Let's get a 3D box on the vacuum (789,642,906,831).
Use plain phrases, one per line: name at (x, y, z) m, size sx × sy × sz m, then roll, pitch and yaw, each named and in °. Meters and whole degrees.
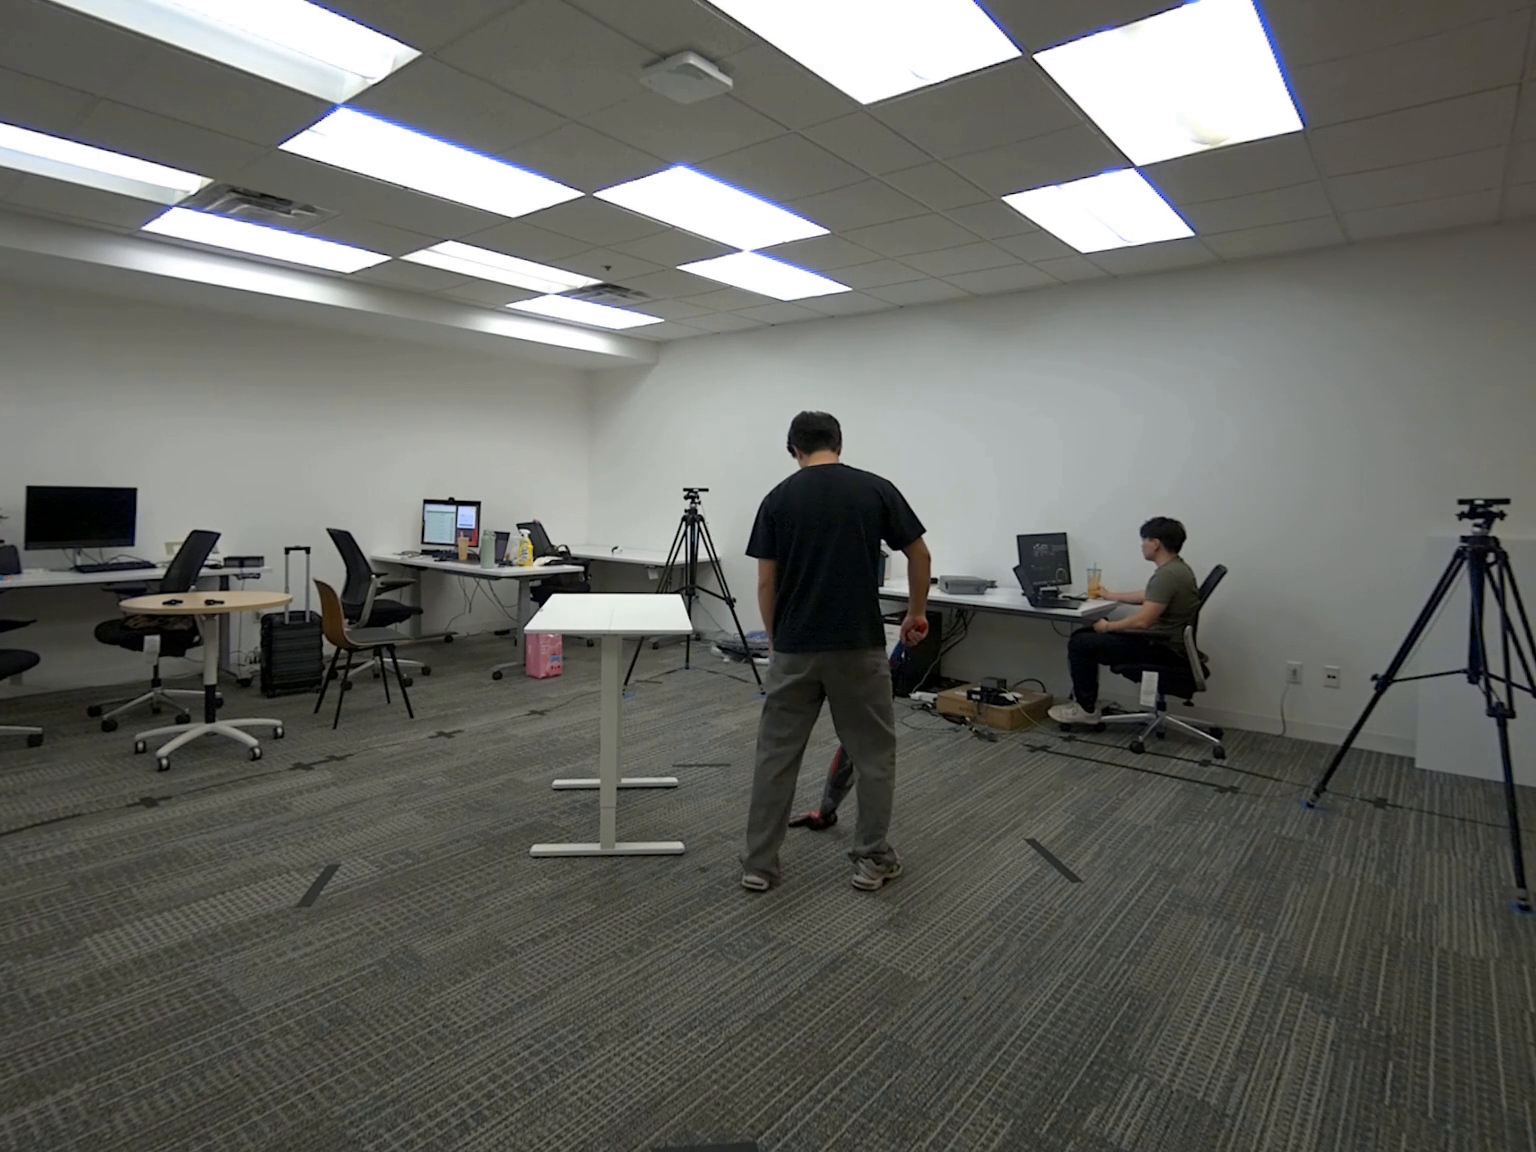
vacuum at (0.368, 0.606, 3.354) m, size 0.245 × 1.038 × 0.150 m, roll 0°, pitch 35°, yaw -41°
